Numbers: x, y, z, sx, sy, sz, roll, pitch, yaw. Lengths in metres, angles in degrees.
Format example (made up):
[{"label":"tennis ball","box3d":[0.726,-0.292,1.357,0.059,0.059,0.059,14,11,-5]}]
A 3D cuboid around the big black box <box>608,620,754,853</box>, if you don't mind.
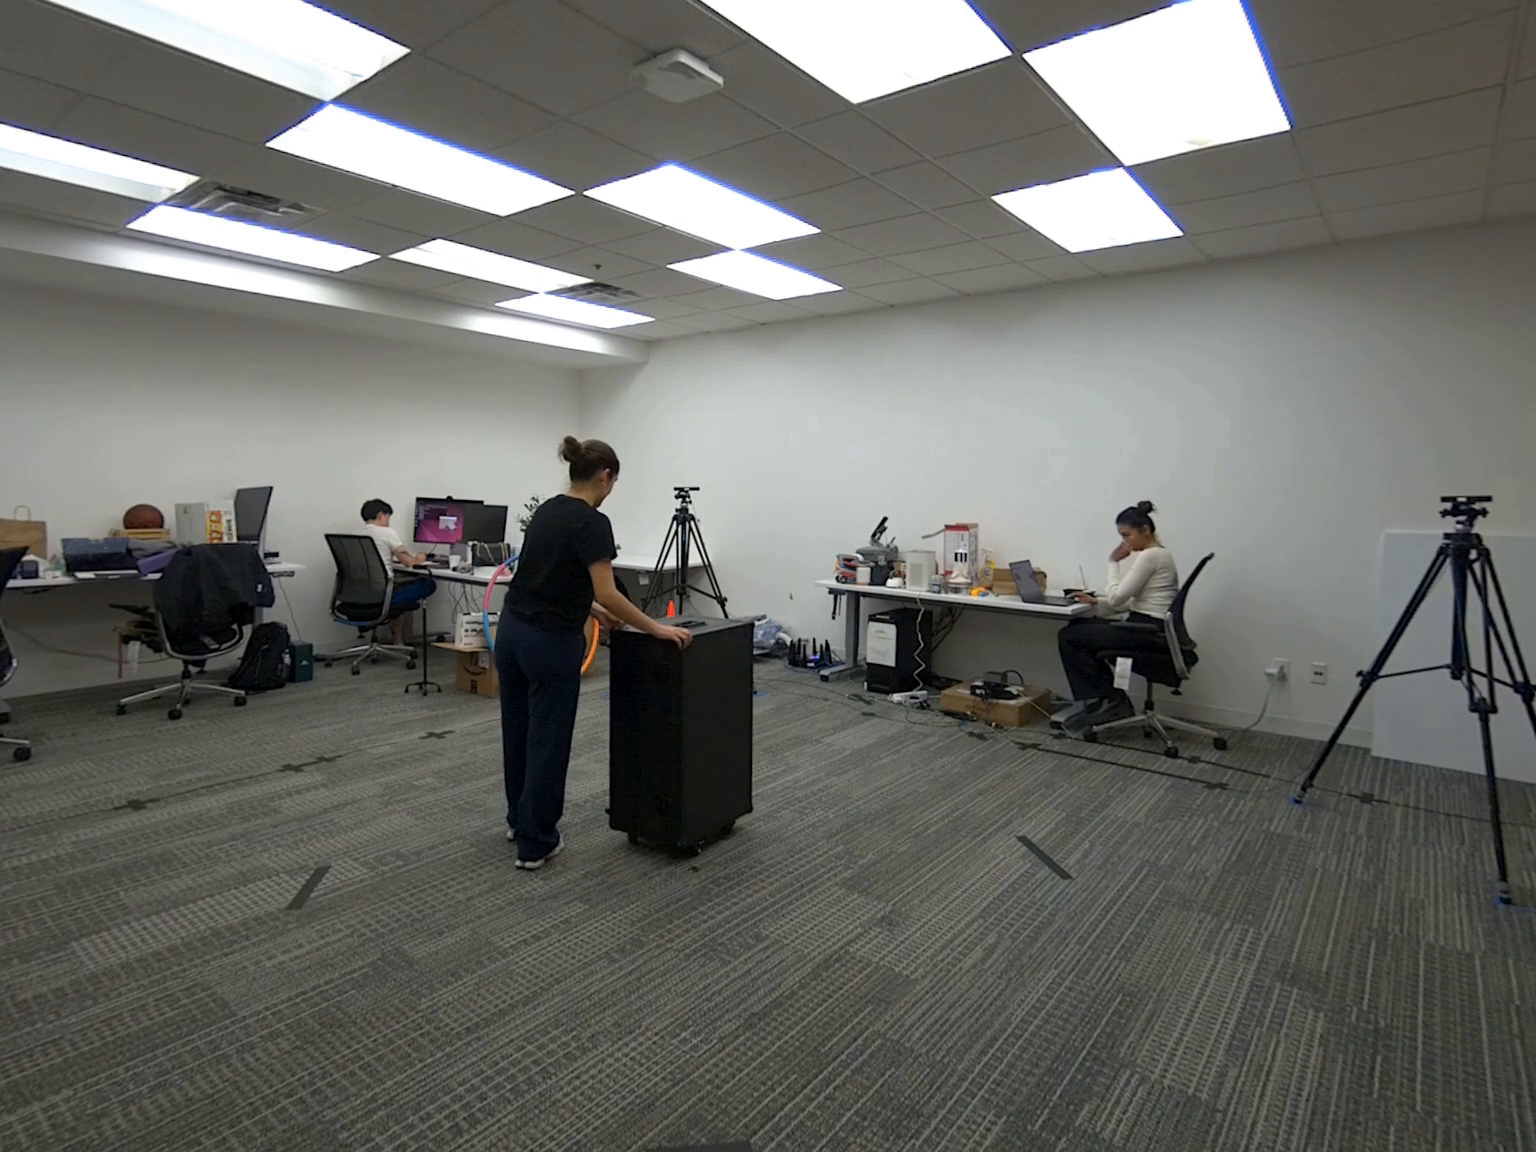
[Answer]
[{"label":"big black box","box3d":[-0.333,0.613,3.384,0.408,0.859,0.507,2,4,34]}]
